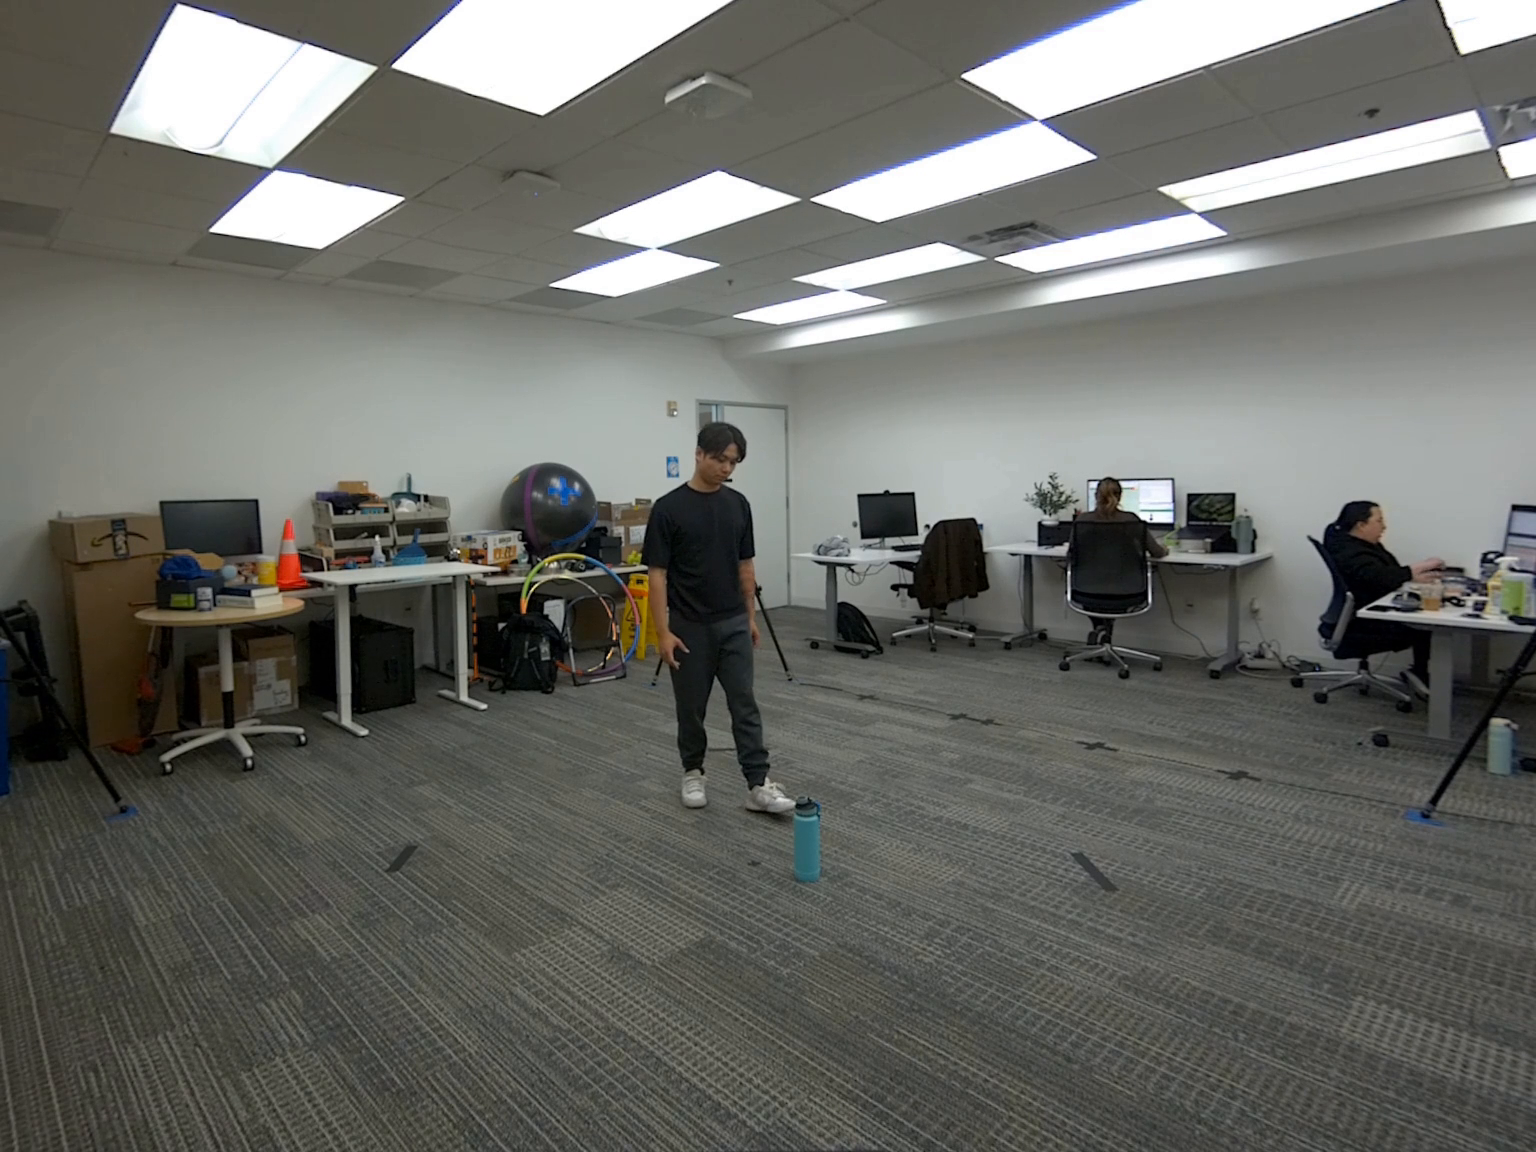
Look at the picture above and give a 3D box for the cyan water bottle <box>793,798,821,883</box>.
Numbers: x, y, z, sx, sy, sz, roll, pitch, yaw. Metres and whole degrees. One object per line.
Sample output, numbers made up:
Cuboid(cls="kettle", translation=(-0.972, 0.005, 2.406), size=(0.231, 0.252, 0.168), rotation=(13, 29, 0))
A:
Cuboid(cls="cyan water bottle", translation=(0.142, 0.915, 2.987), size=(0.092, 0.282, 0.093), rotation=(0, 3, -2))
